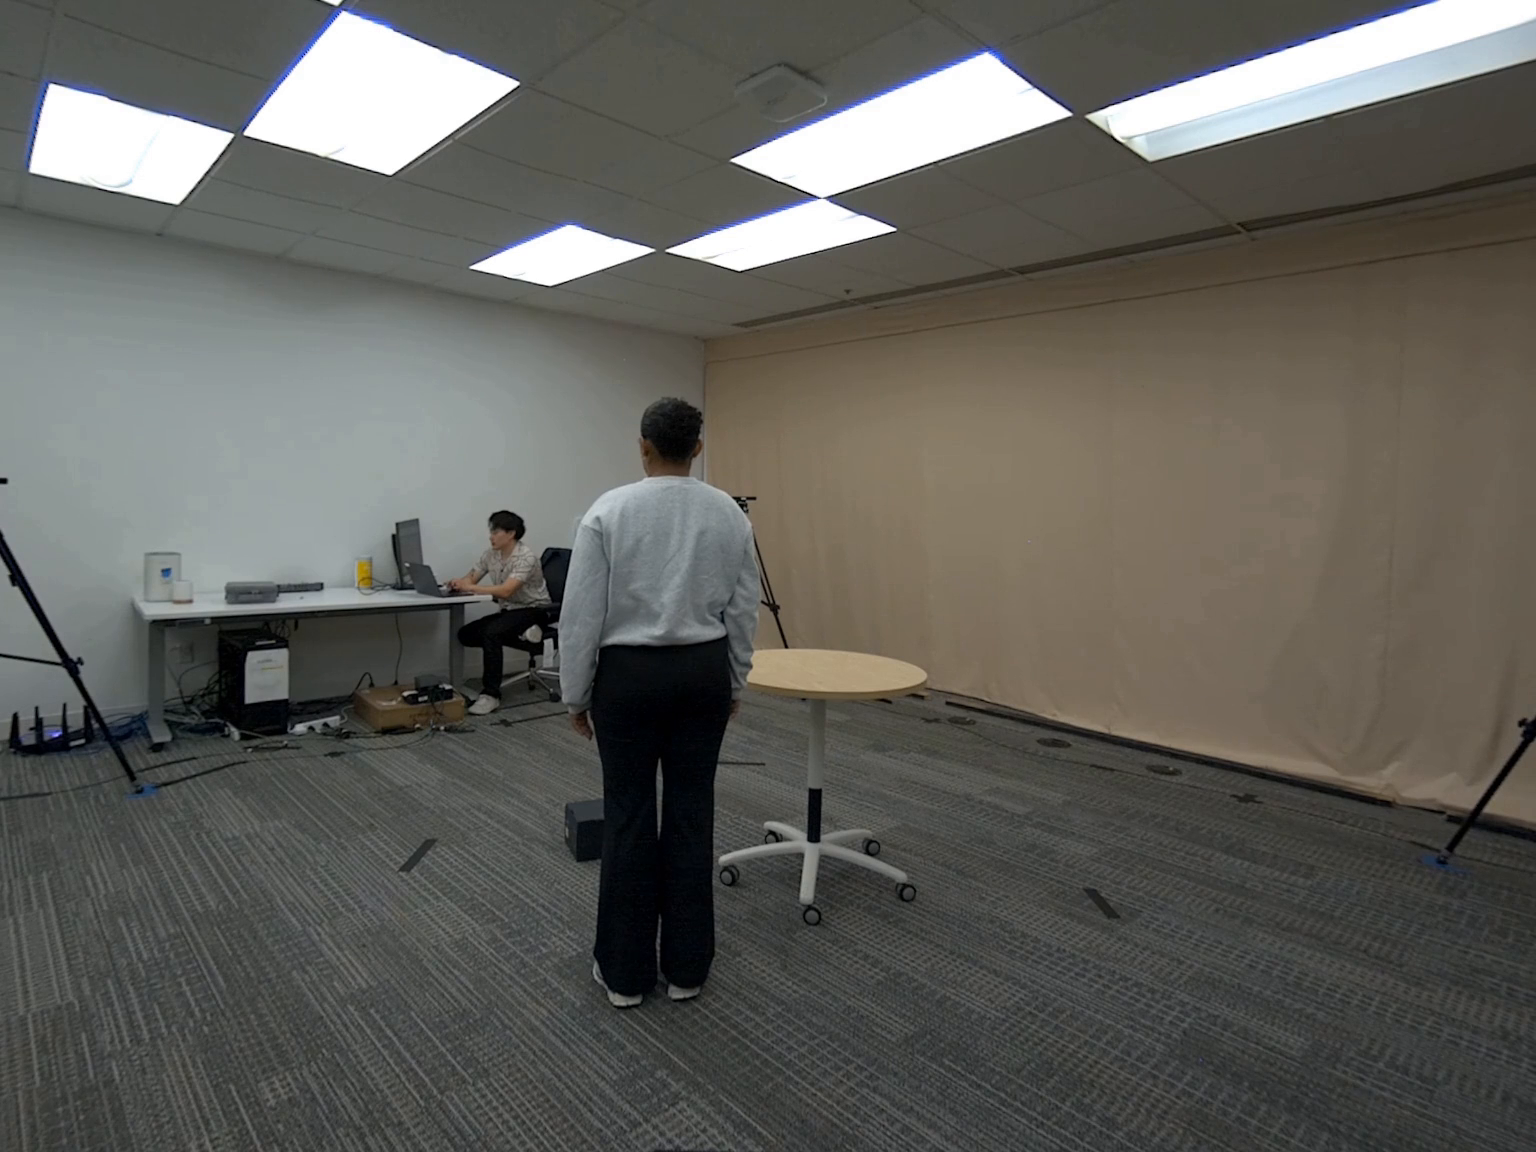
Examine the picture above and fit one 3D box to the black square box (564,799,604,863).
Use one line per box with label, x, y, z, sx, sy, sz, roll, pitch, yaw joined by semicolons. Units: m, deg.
black square box;-0.671;0.991;3.321;0.224;0.155;0.221;-1;5;-24
